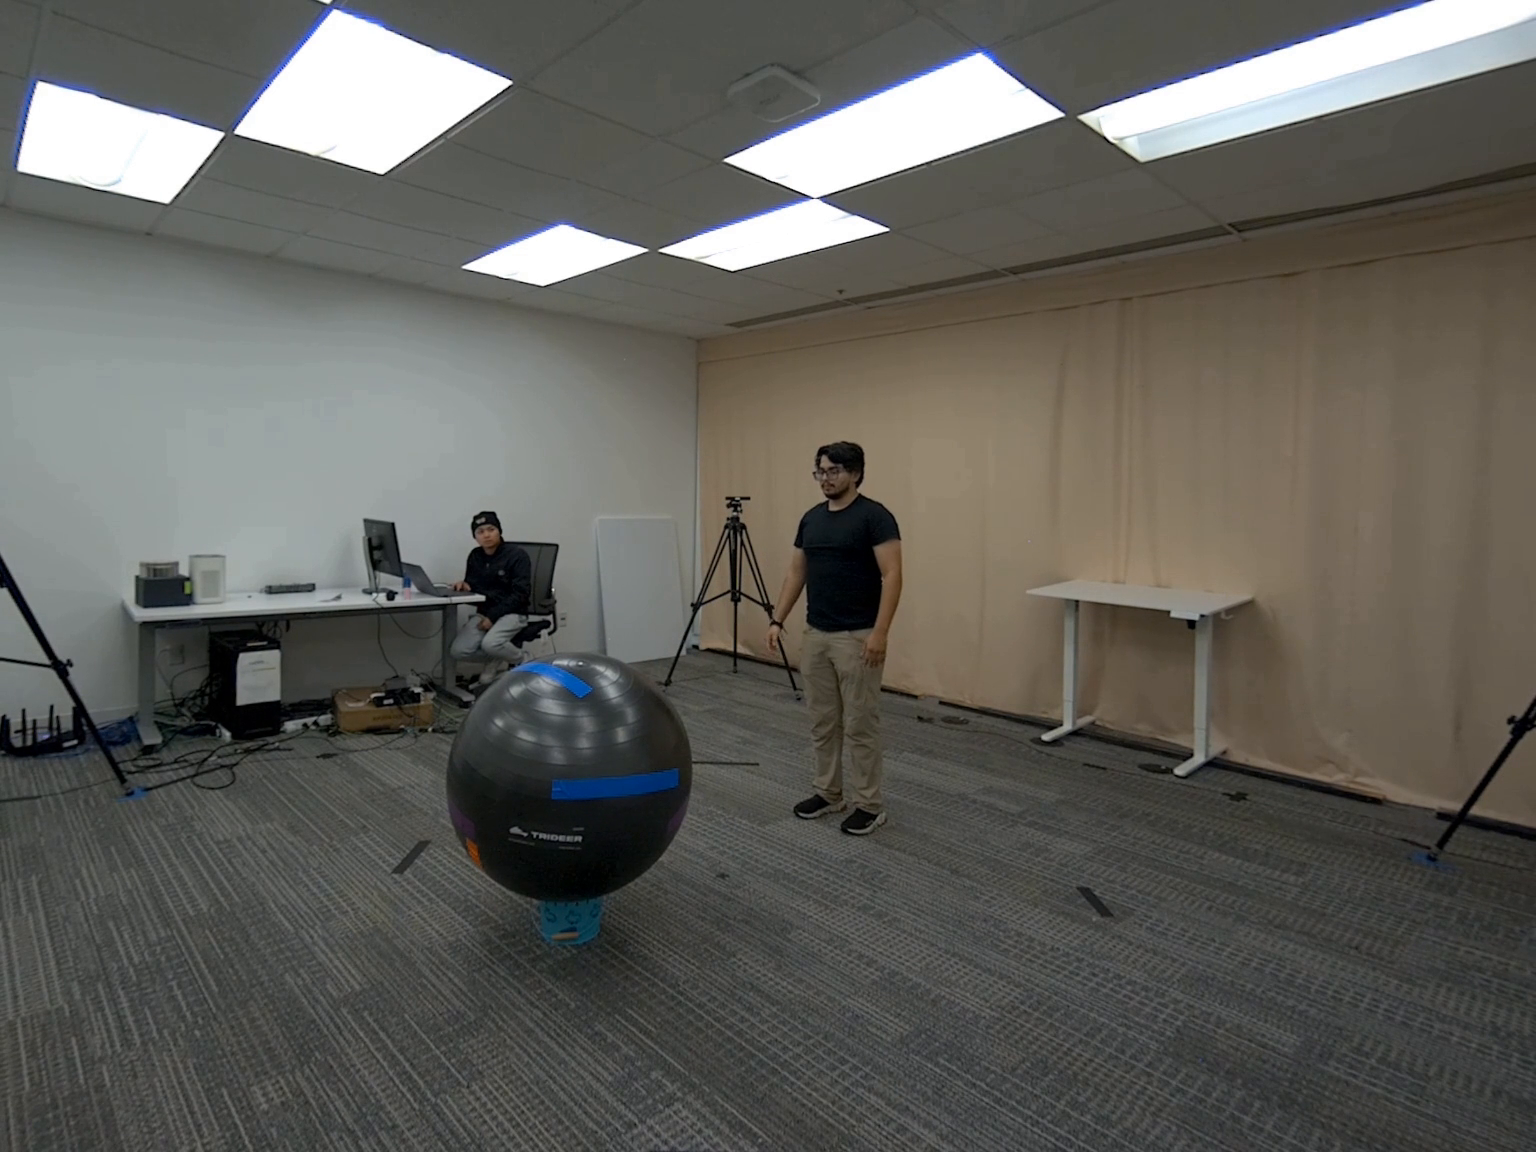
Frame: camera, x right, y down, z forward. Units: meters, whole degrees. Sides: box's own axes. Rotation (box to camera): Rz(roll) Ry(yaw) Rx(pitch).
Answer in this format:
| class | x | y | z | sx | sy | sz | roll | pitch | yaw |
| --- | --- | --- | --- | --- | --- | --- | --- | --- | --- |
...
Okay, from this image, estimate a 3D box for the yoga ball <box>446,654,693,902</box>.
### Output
| class | x | y | z | sx | sy | sz | roll | pitch | yaw |
| --- | --- | --- | --- | --- | --- | --- | --- | --- | --- |
| yoga ball | -0.621 | 0.631 | 2.649 | 0.757 | 0.756 | 0.760 | 1 | 4 | -1 |
